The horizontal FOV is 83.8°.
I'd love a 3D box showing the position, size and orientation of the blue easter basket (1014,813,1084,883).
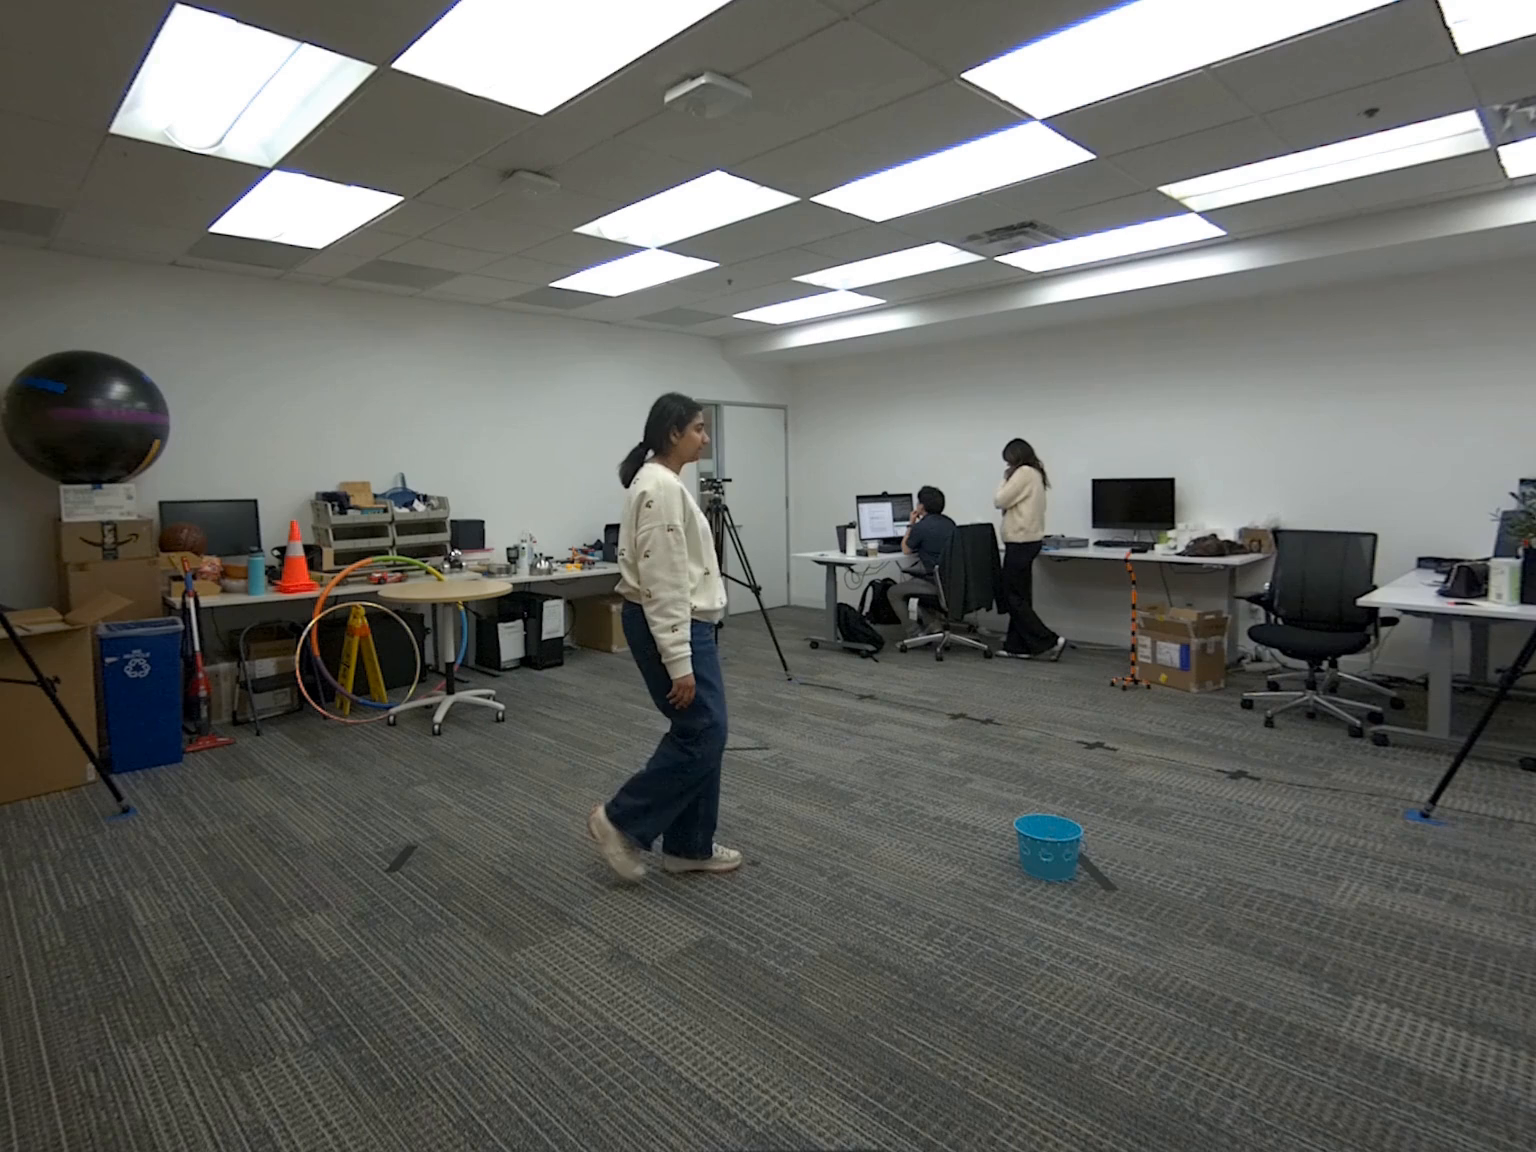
[{"bbox_3d":[0.978,0.952,3.016,0.243,0.155,0.245,-2,5,-2],"label":"blue easter basket"}]
